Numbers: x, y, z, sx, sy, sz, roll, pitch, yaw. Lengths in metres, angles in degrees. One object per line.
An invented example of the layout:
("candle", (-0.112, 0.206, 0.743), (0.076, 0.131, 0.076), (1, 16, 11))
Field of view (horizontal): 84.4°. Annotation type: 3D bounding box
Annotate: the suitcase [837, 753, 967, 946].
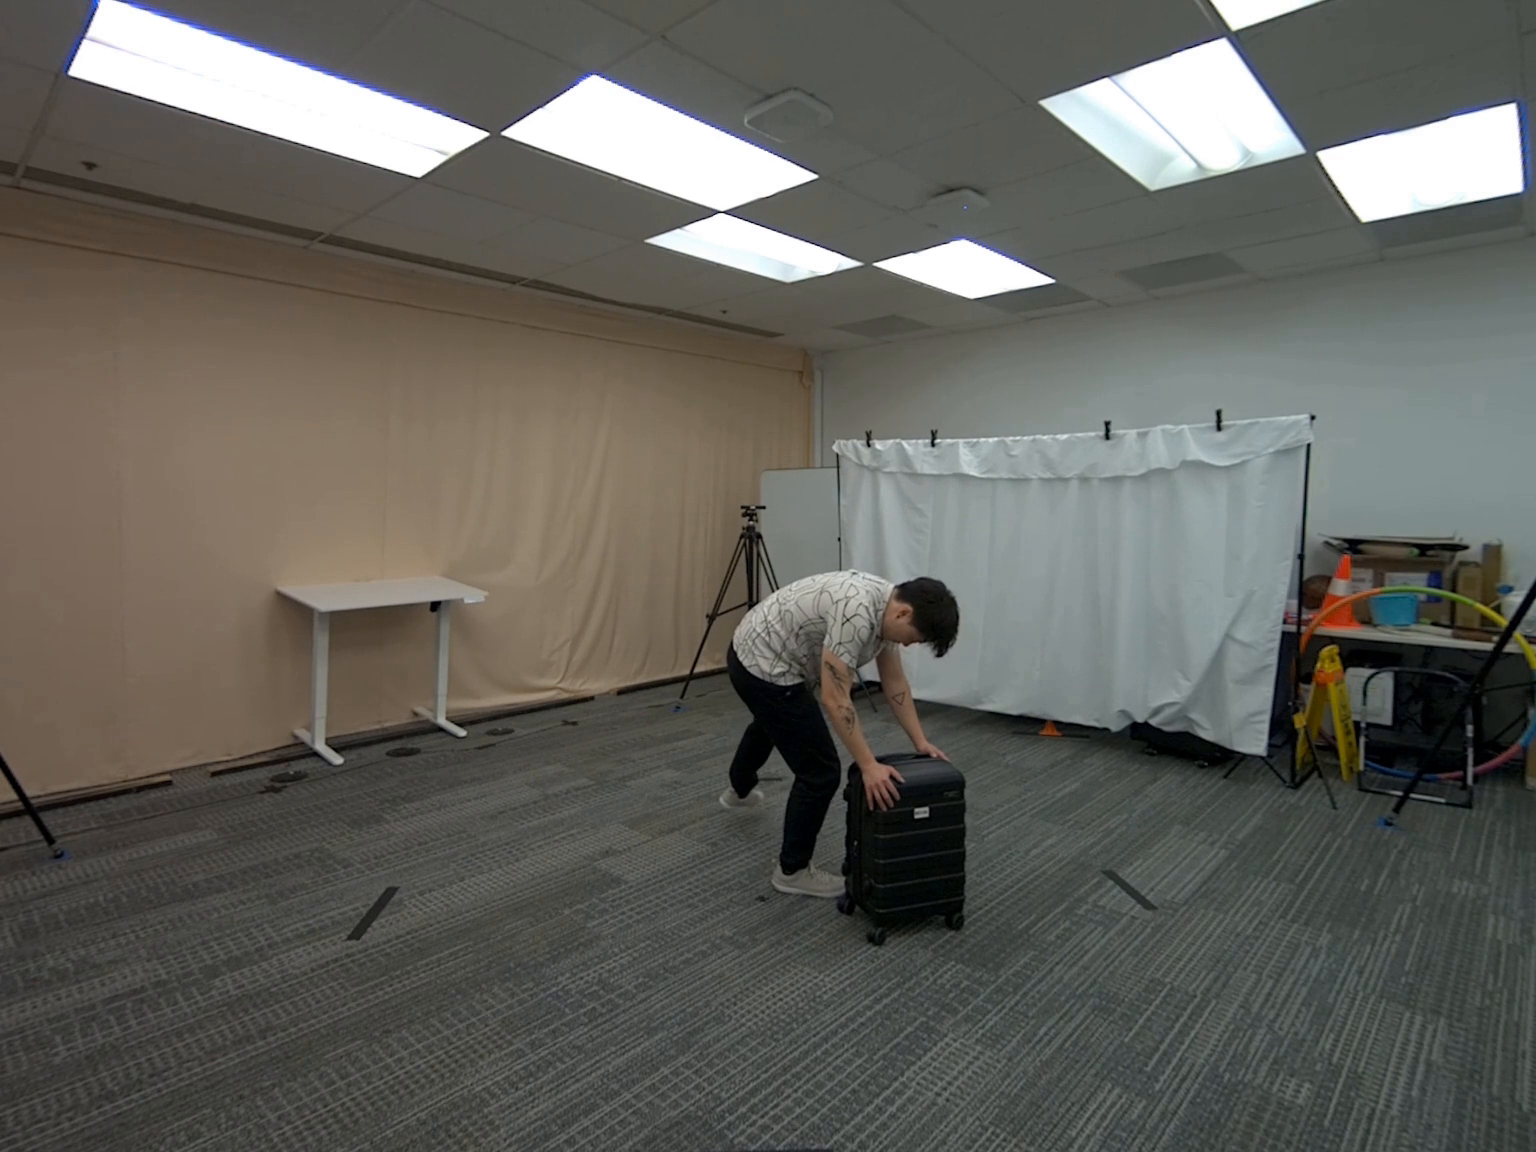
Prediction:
("suitcase", (0.466, 0.881, 2.819), (0.368, 0.548, 0.254), (0, 3, -19))
